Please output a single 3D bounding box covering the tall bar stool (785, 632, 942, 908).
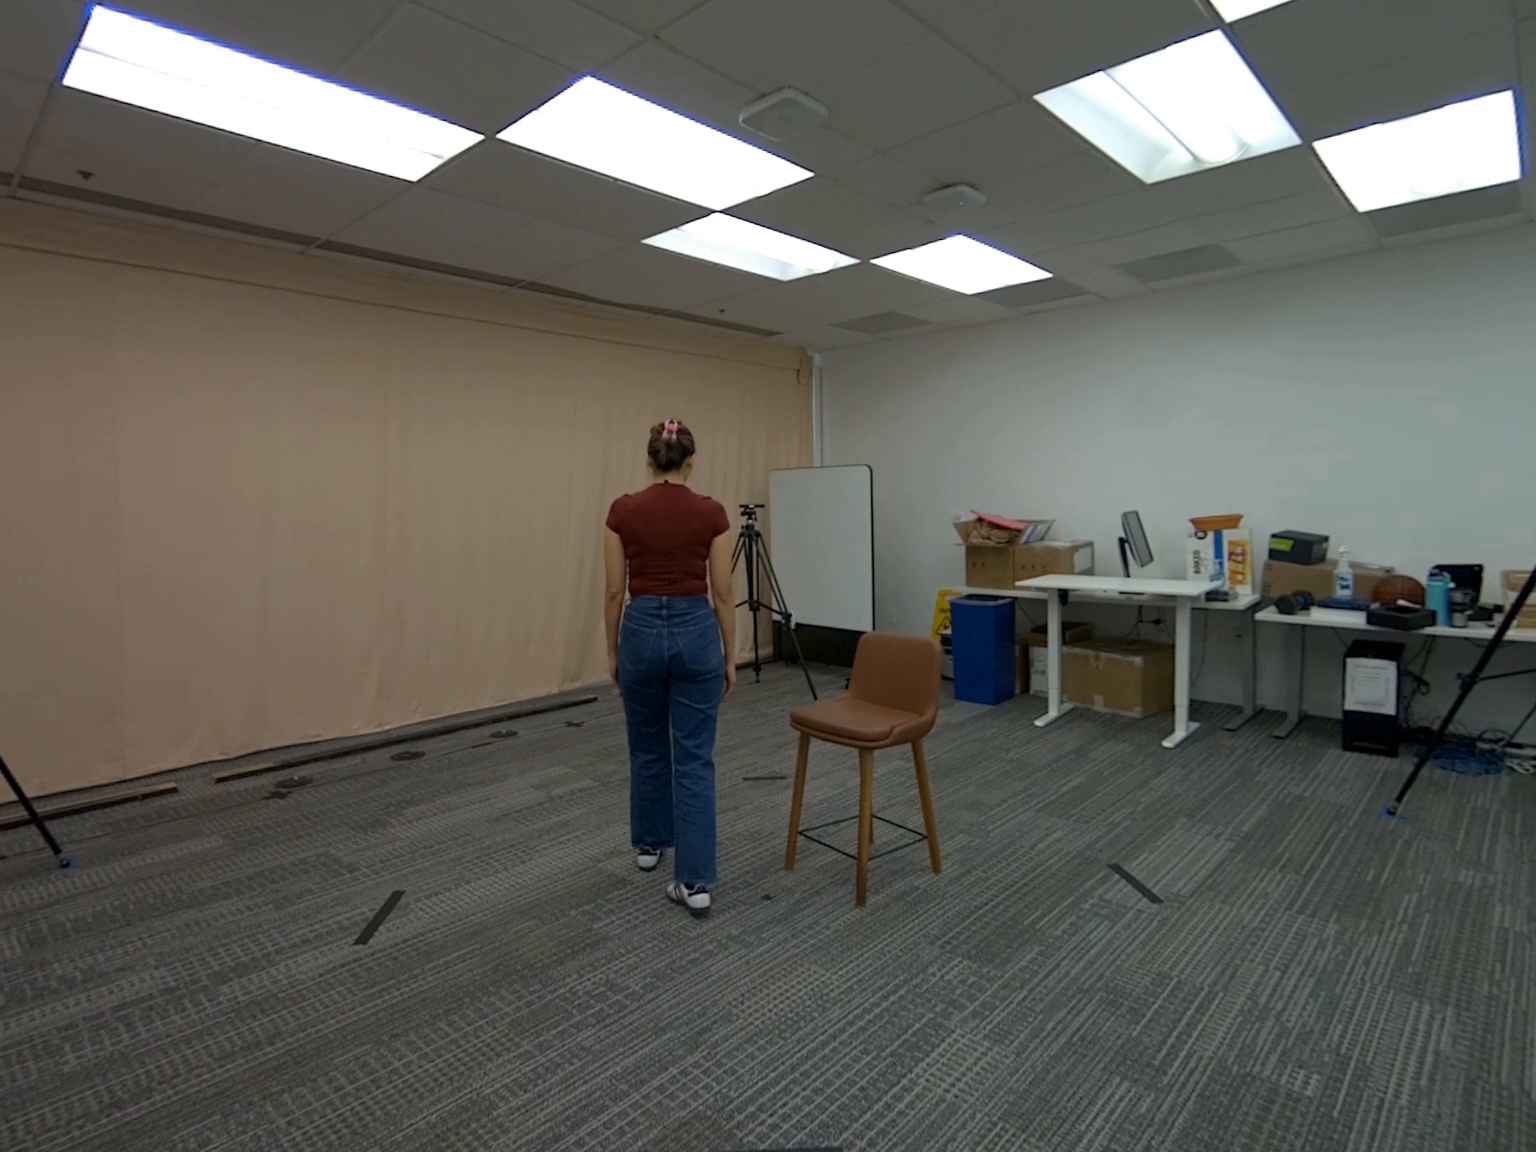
[{"bbox_3d":[0.364,0.682,3.161,0.453,0.888,0.471,-1,3,-39],"label":"tall bar stool"}]
